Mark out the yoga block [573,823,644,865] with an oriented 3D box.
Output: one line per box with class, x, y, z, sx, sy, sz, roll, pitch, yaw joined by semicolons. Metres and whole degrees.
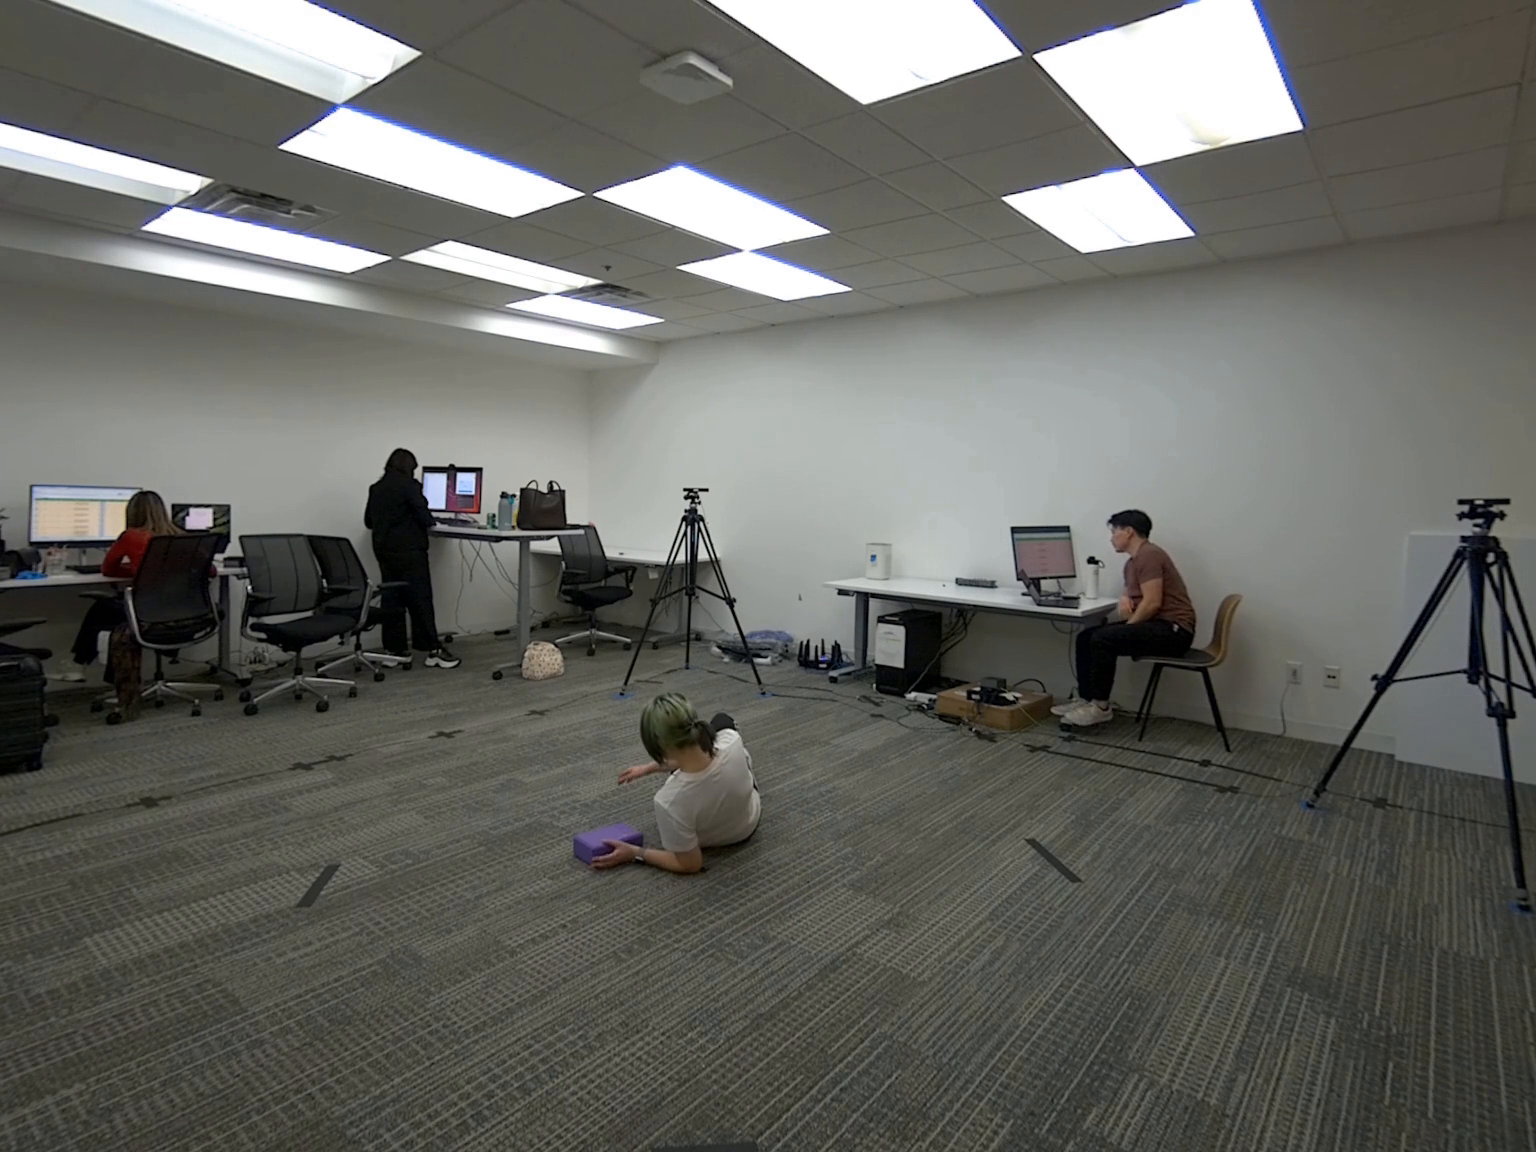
yoga block;-0.618;1.014;3.234;0.222;0.076;0.154;-5;8;-42
